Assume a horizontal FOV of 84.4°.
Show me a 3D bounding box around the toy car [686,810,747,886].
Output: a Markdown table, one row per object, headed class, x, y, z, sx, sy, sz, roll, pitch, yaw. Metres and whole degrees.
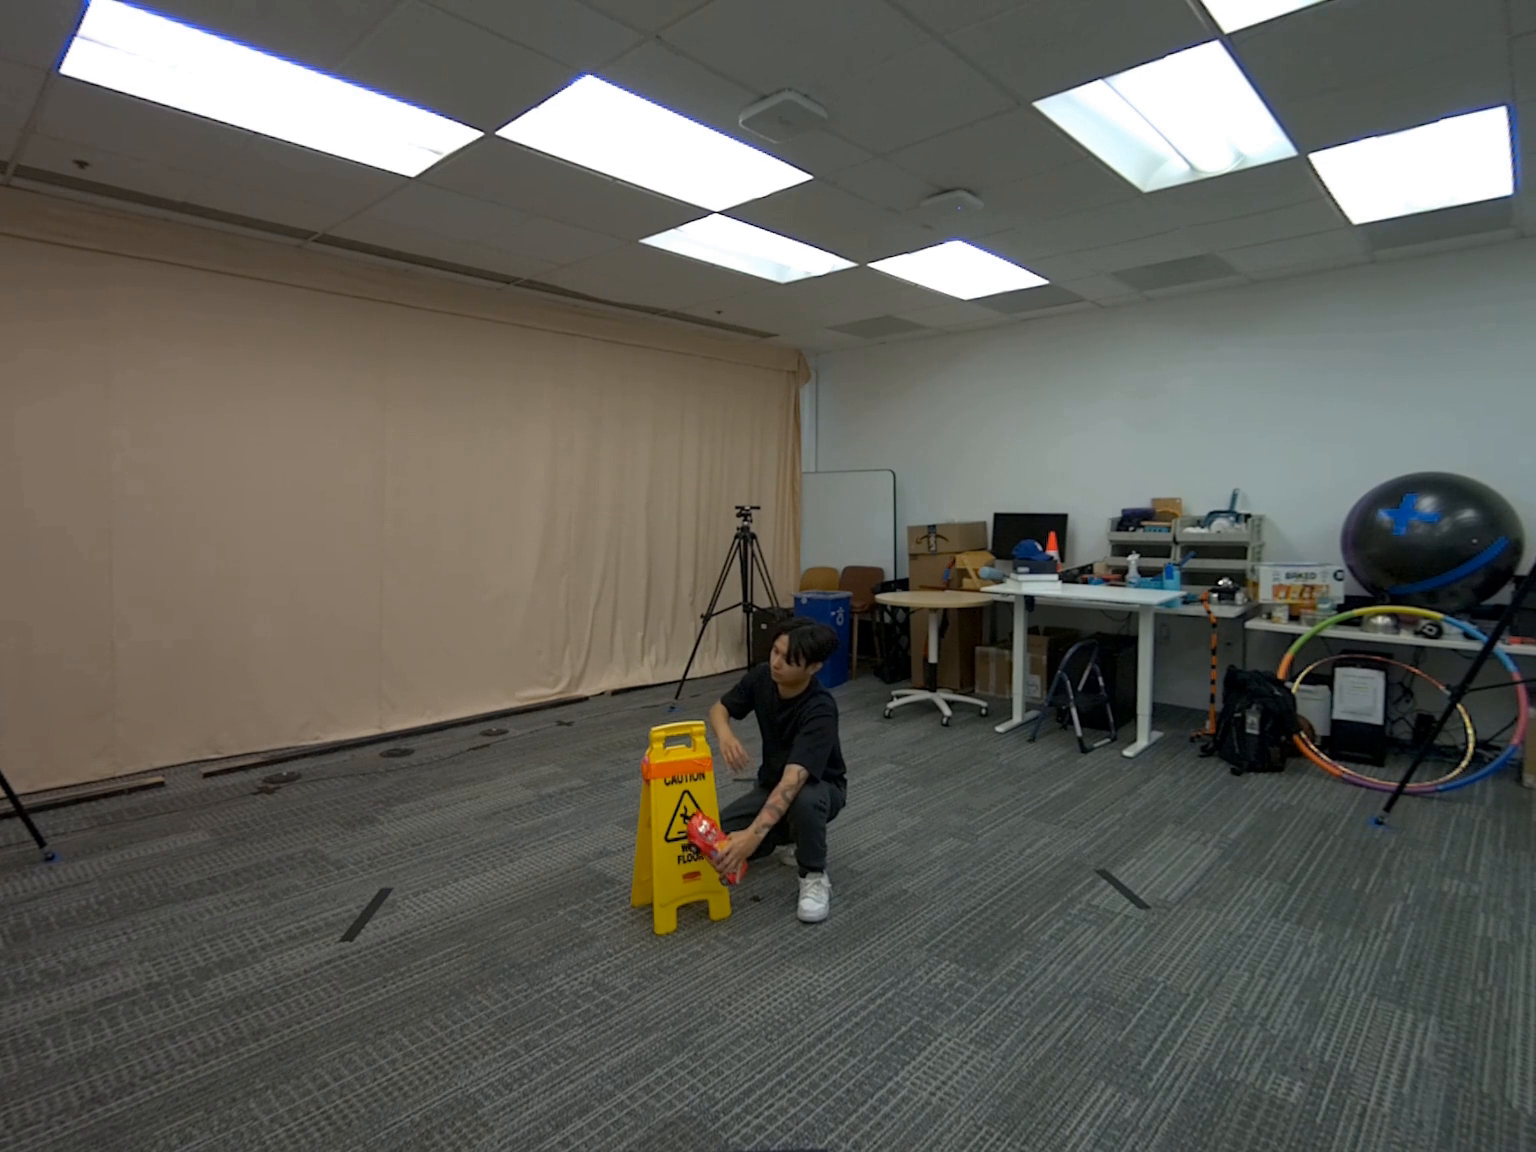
| class | x | y | z | sx | sy | sz | roll | pitch | yaw |
| --- | --- | --- | --- | --- | --- | --- | --- | --- | --- |
| toy car | -0.168 | 0.833 | 2.671 | 0.085 | 0.251 | 0.129 | -22 | 18 | 38 |
